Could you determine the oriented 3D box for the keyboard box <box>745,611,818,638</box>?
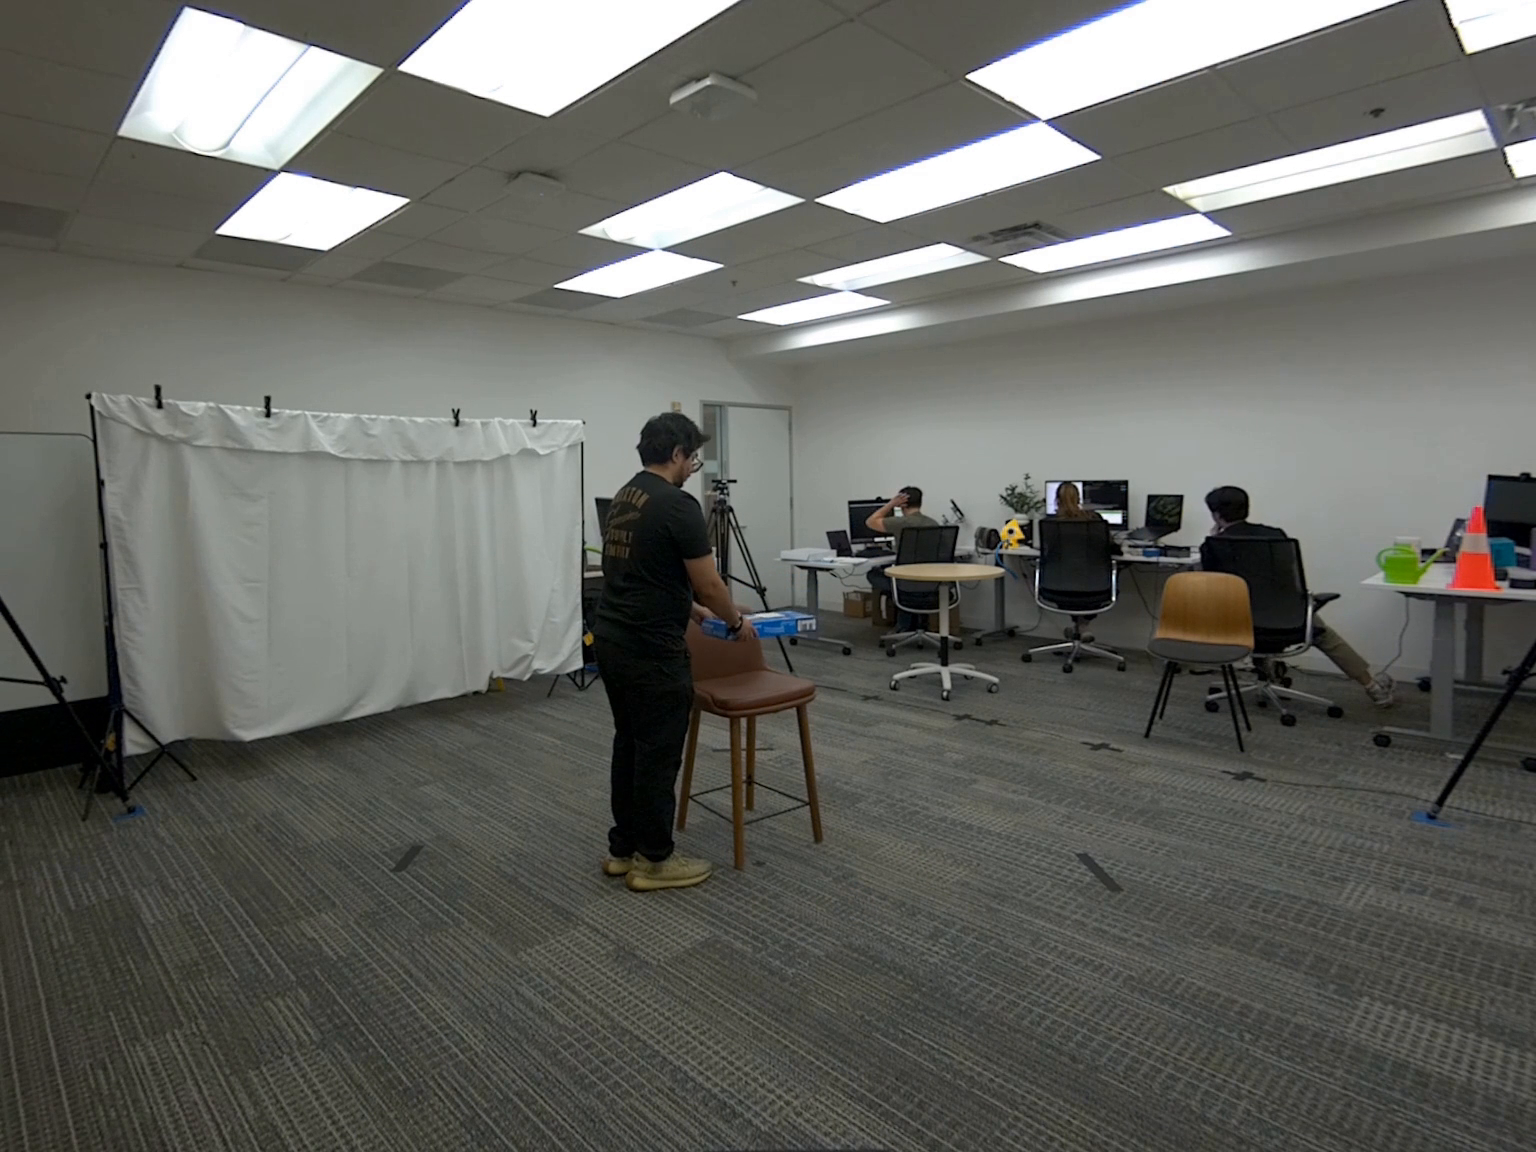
[{"bbox_3d":[-0.030,0.188,3.302,0.425,0.059,0.181,-2,6,-36],"label":"keyboard box"}]
